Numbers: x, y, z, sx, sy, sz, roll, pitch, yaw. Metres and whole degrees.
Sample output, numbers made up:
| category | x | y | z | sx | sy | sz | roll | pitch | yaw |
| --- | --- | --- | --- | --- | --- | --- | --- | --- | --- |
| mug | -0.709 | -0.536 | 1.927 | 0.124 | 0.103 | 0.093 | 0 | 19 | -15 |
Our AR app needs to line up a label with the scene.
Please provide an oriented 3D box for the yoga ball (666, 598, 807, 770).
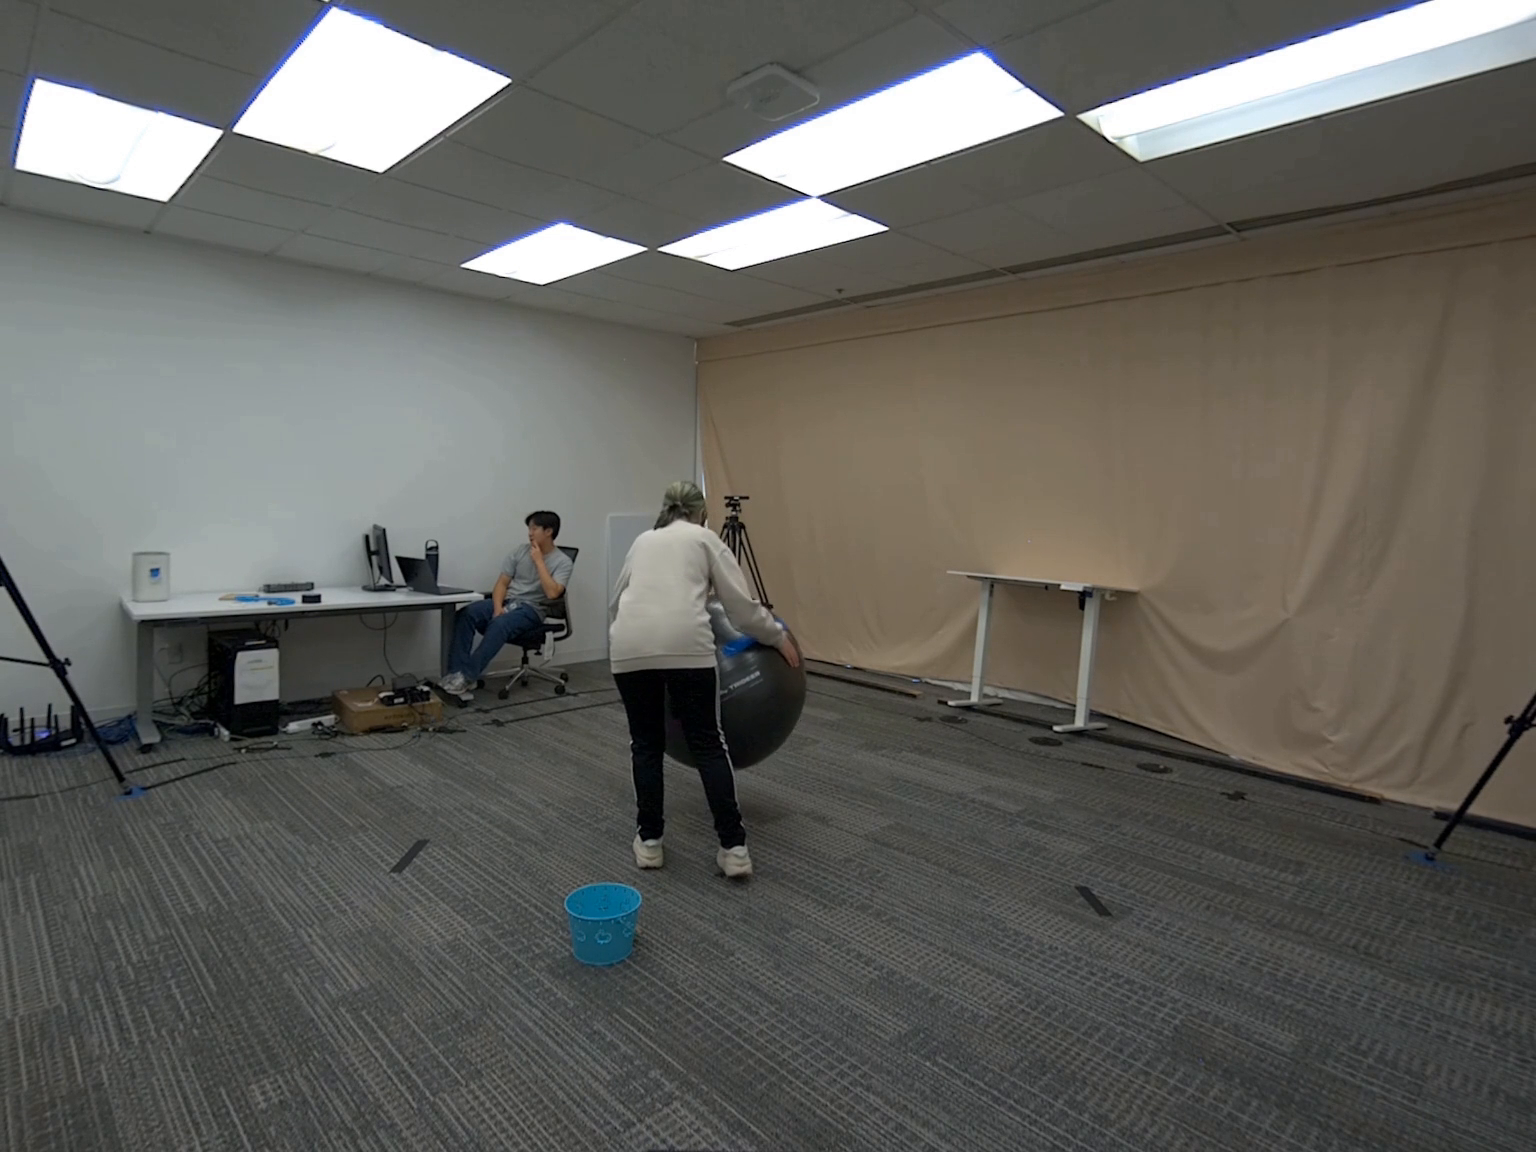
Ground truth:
| category | x | y | z | sx | sy | sz | roll | pitch | yaw |
| --- | --- | --- | --- | --- | --- | --- | --- | --- | --- |
| yoga ball | -0.222 | 0.462 | 3.638 | 0.757 | 0.756 | 0.761 | 1 | 4 | -1 |
